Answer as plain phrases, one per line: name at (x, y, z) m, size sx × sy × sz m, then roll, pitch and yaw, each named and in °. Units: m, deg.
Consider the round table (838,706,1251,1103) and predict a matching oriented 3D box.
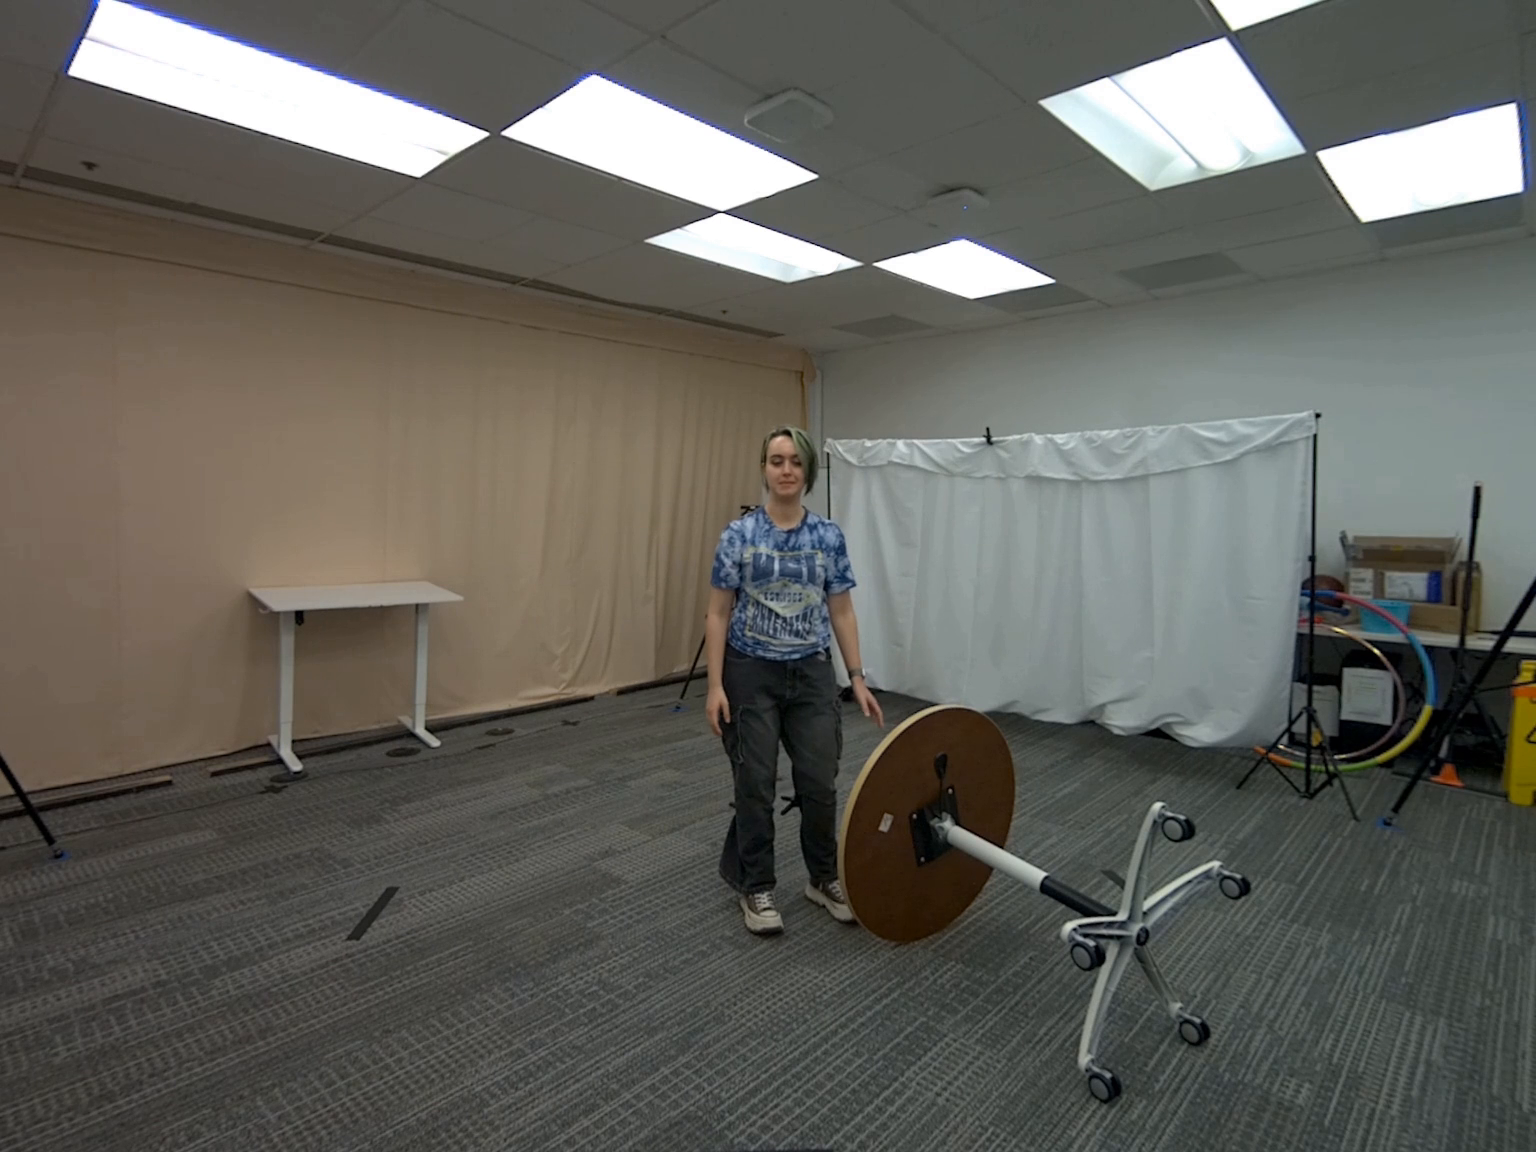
round table at (0.749, 0.854, 2.347) m, size 0.742 × 0.760 × 0.821 m, roll -2°, pitch 10°, yaw -34°
